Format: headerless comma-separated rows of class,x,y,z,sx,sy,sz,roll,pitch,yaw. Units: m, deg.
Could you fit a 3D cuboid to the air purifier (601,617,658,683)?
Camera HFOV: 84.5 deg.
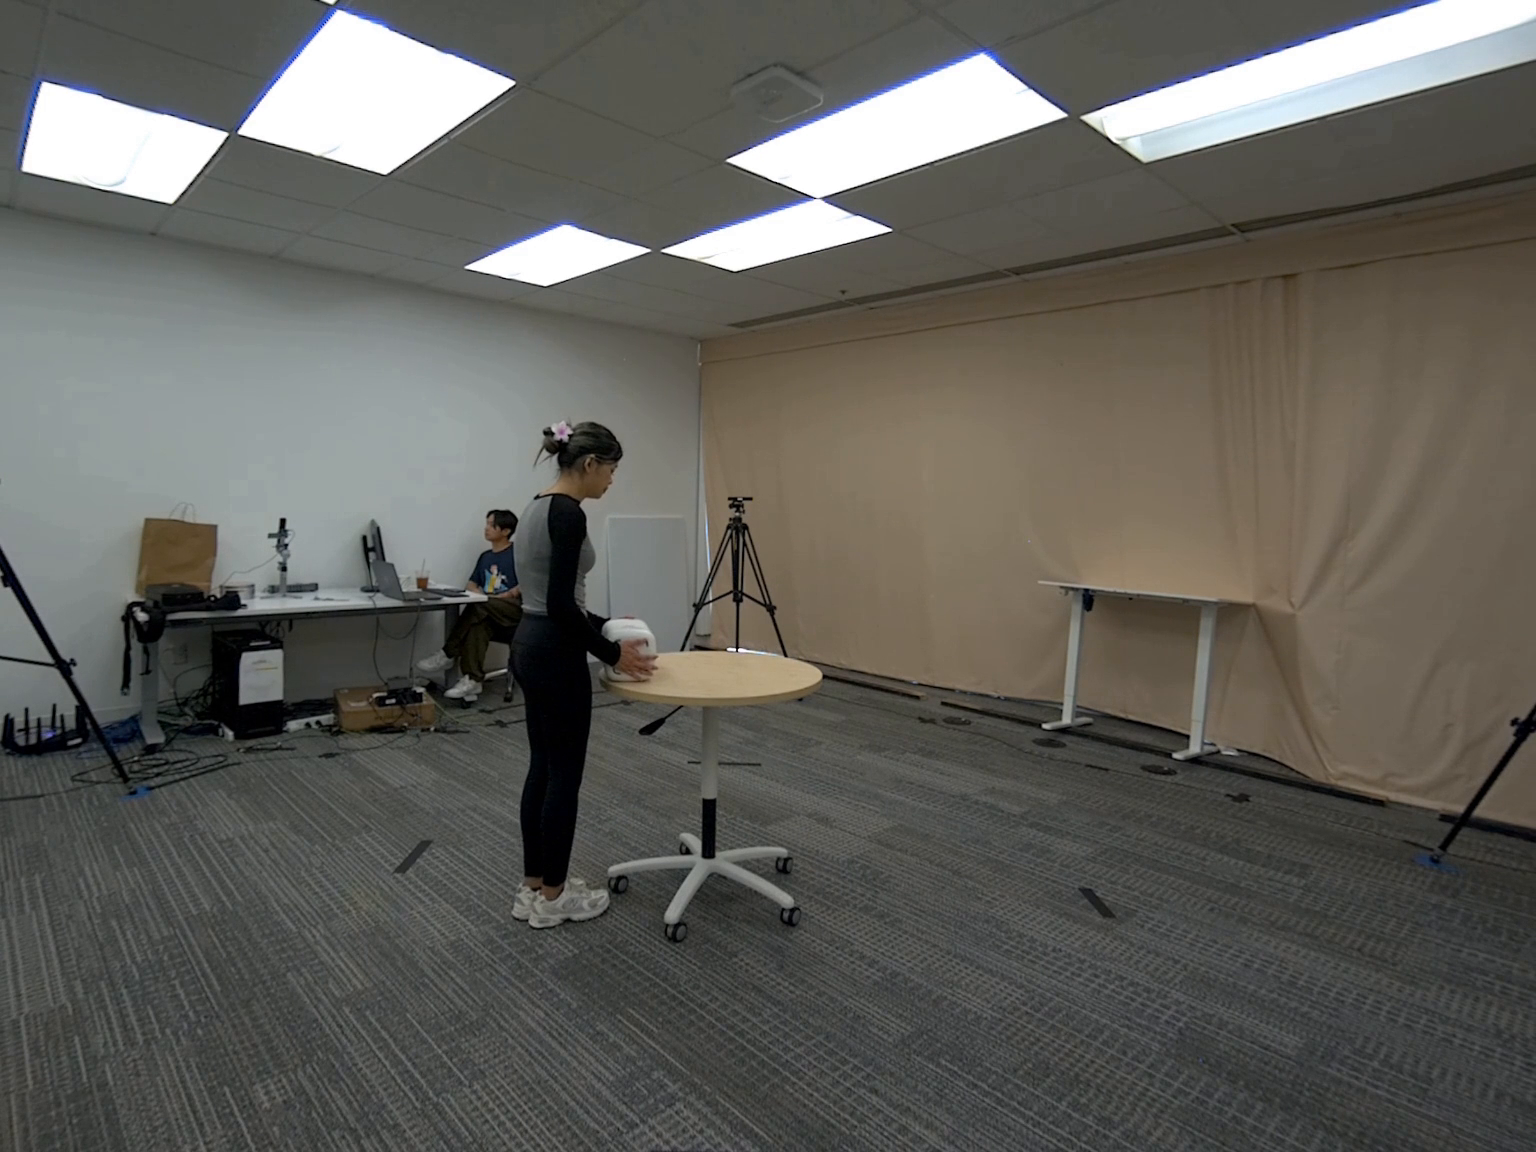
air purifier,-0.484,0.248,2.843,0.169,0.171,0.268,1,4,-11
